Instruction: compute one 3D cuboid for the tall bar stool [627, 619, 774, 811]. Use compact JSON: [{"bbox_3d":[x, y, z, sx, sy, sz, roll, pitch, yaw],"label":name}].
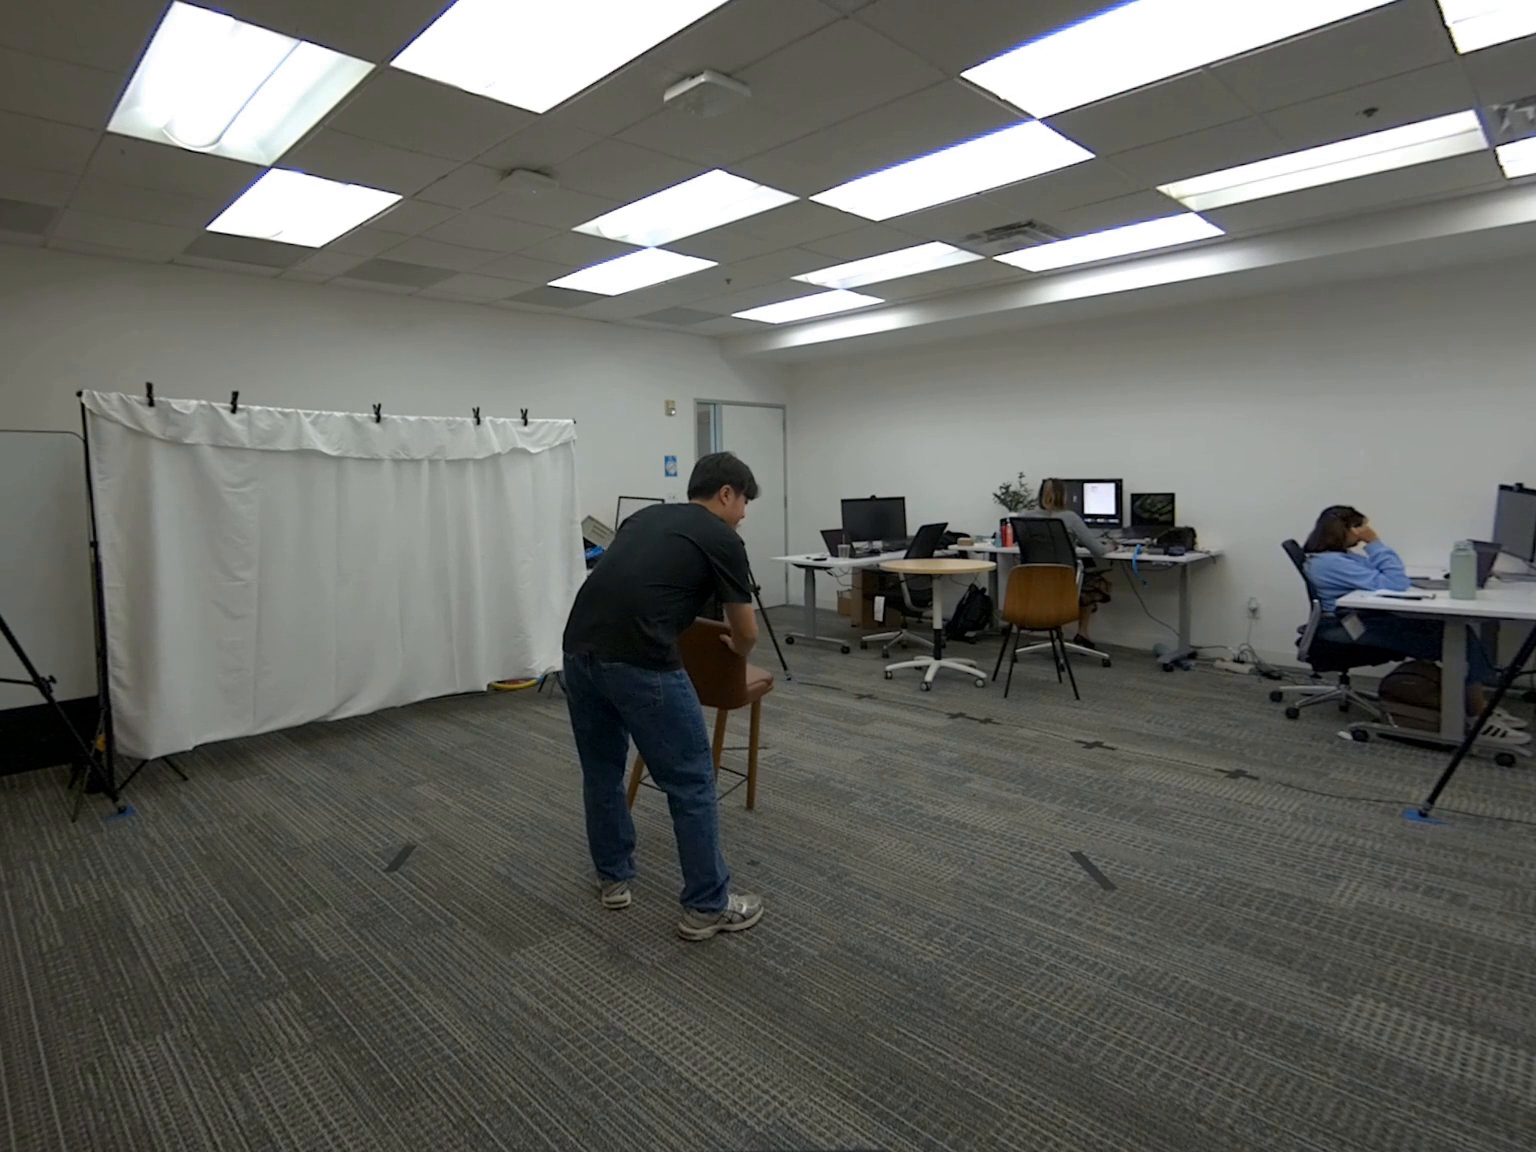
[{"bbox_3d":[-0.262,0.542,3.434,0.468,0.882,0.459,13,12,23],"label":"tall bar stool"}]
